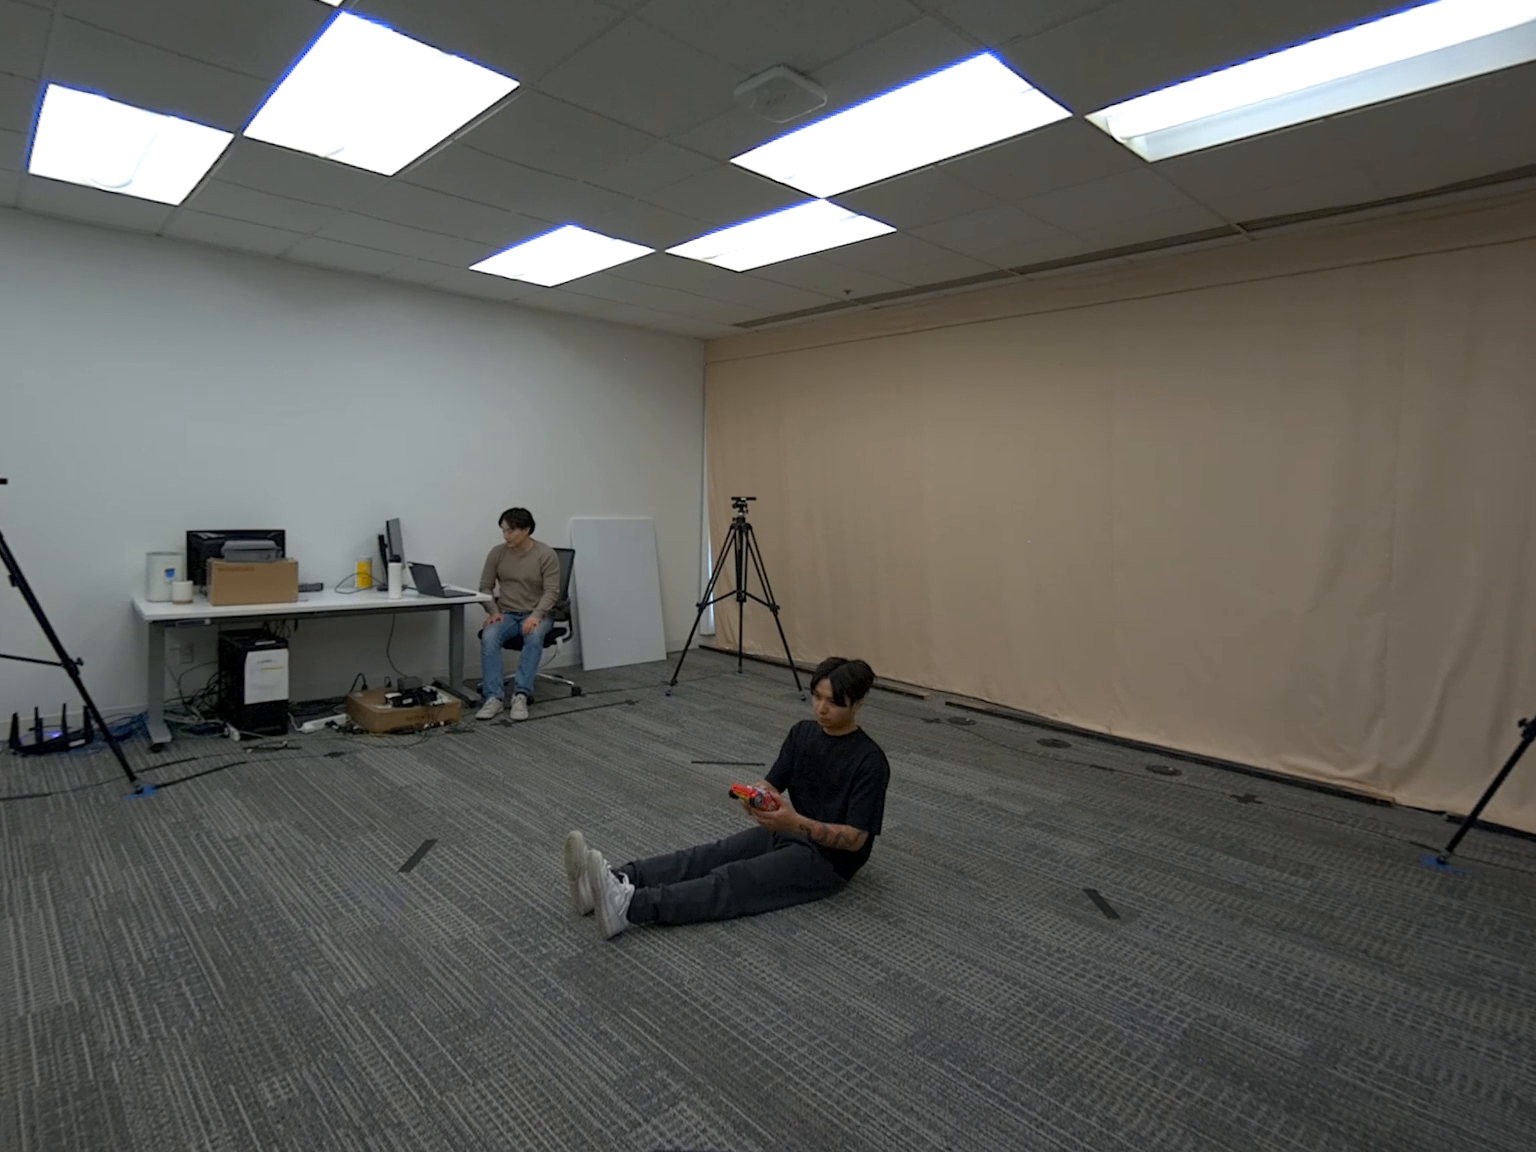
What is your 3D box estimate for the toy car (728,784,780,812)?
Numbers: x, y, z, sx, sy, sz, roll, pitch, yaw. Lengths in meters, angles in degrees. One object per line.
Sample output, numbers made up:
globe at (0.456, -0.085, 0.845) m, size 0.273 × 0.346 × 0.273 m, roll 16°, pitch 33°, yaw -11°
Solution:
toy car at (-0.031, 0.767, 2.832) m, size 0.134 × 0.084 × 0.246 m, roll 8°, pitch -16°, yaw 40°
